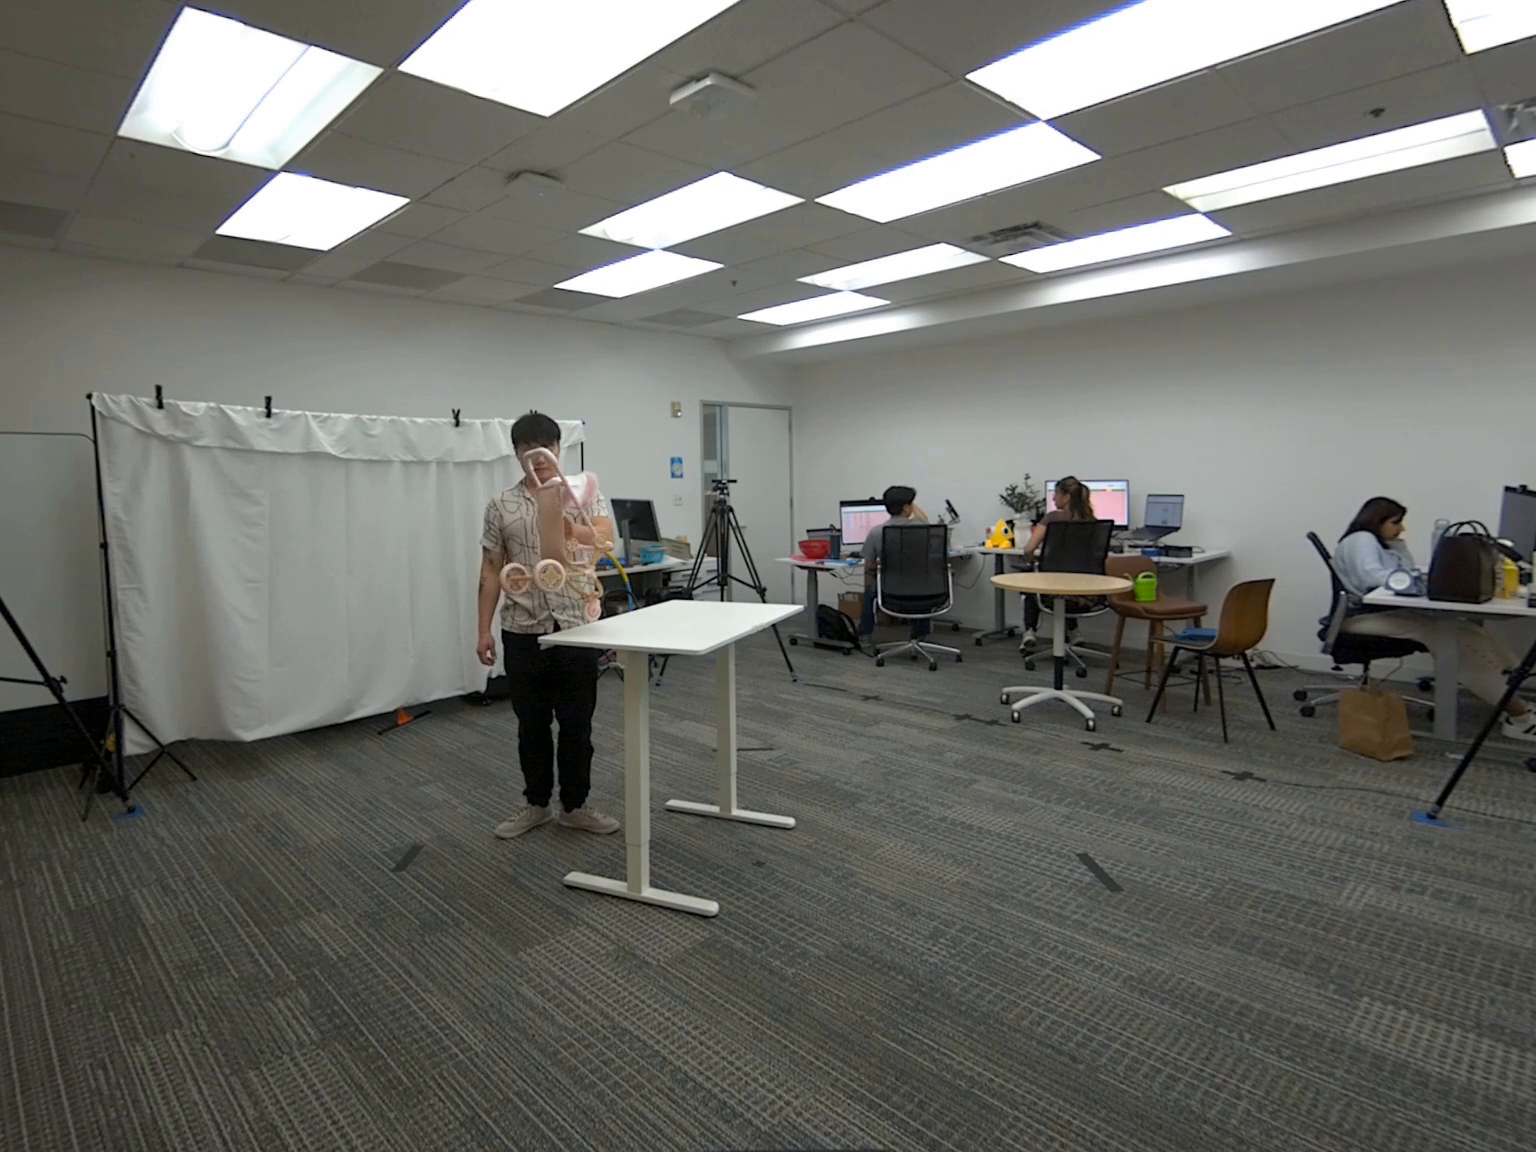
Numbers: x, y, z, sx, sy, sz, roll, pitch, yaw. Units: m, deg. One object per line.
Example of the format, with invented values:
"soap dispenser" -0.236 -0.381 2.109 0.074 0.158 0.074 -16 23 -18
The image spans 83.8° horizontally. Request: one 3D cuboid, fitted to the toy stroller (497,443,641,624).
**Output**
"toy stroller" -0.676 -0.132 2.884 0.331 0.540 0.288 12 -13 -34
